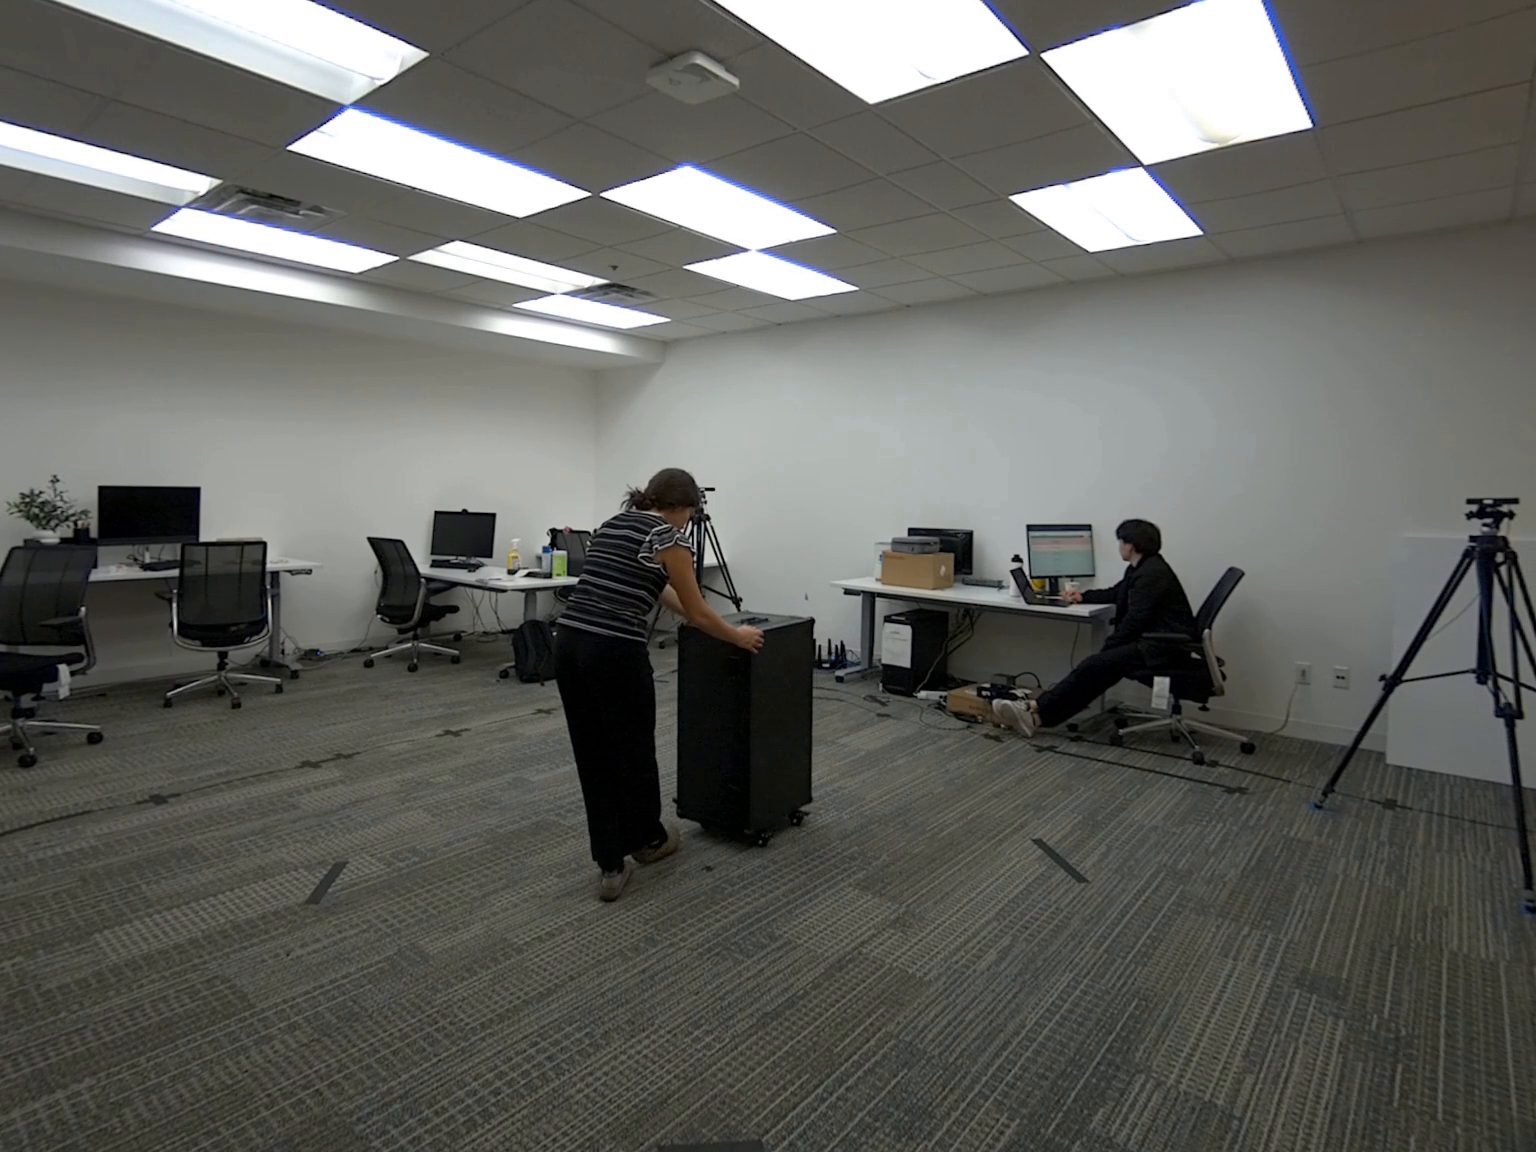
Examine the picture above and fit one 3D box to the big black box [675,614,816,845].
[{"bbox_3d":[-0.109,0.607,3.497,0.408,0.859,0.507,1,3,34],"label":"big black box"}]
